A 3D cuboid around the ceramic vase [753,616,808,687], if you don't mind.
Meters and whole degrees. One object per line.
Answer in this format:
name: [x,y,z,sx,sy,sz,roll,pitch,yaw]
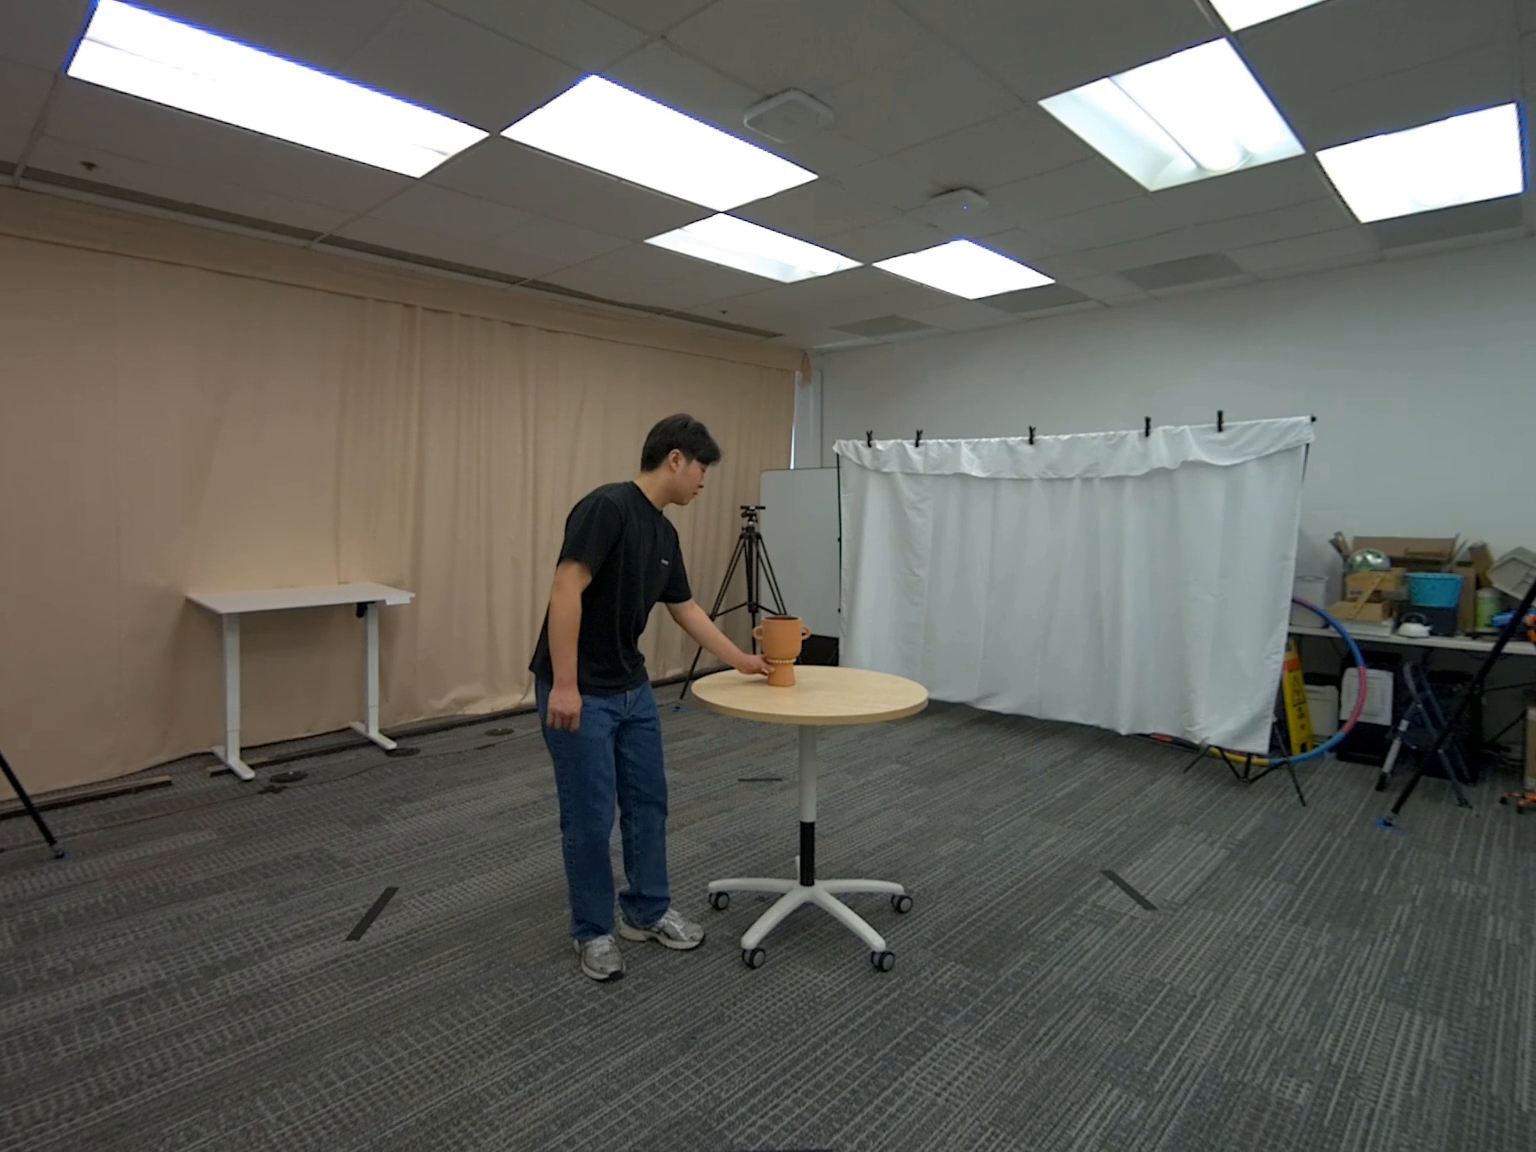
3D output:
ceramic vase: [0.048,0.252,2.804,0.163,0.219,0.131,0,2,27]
